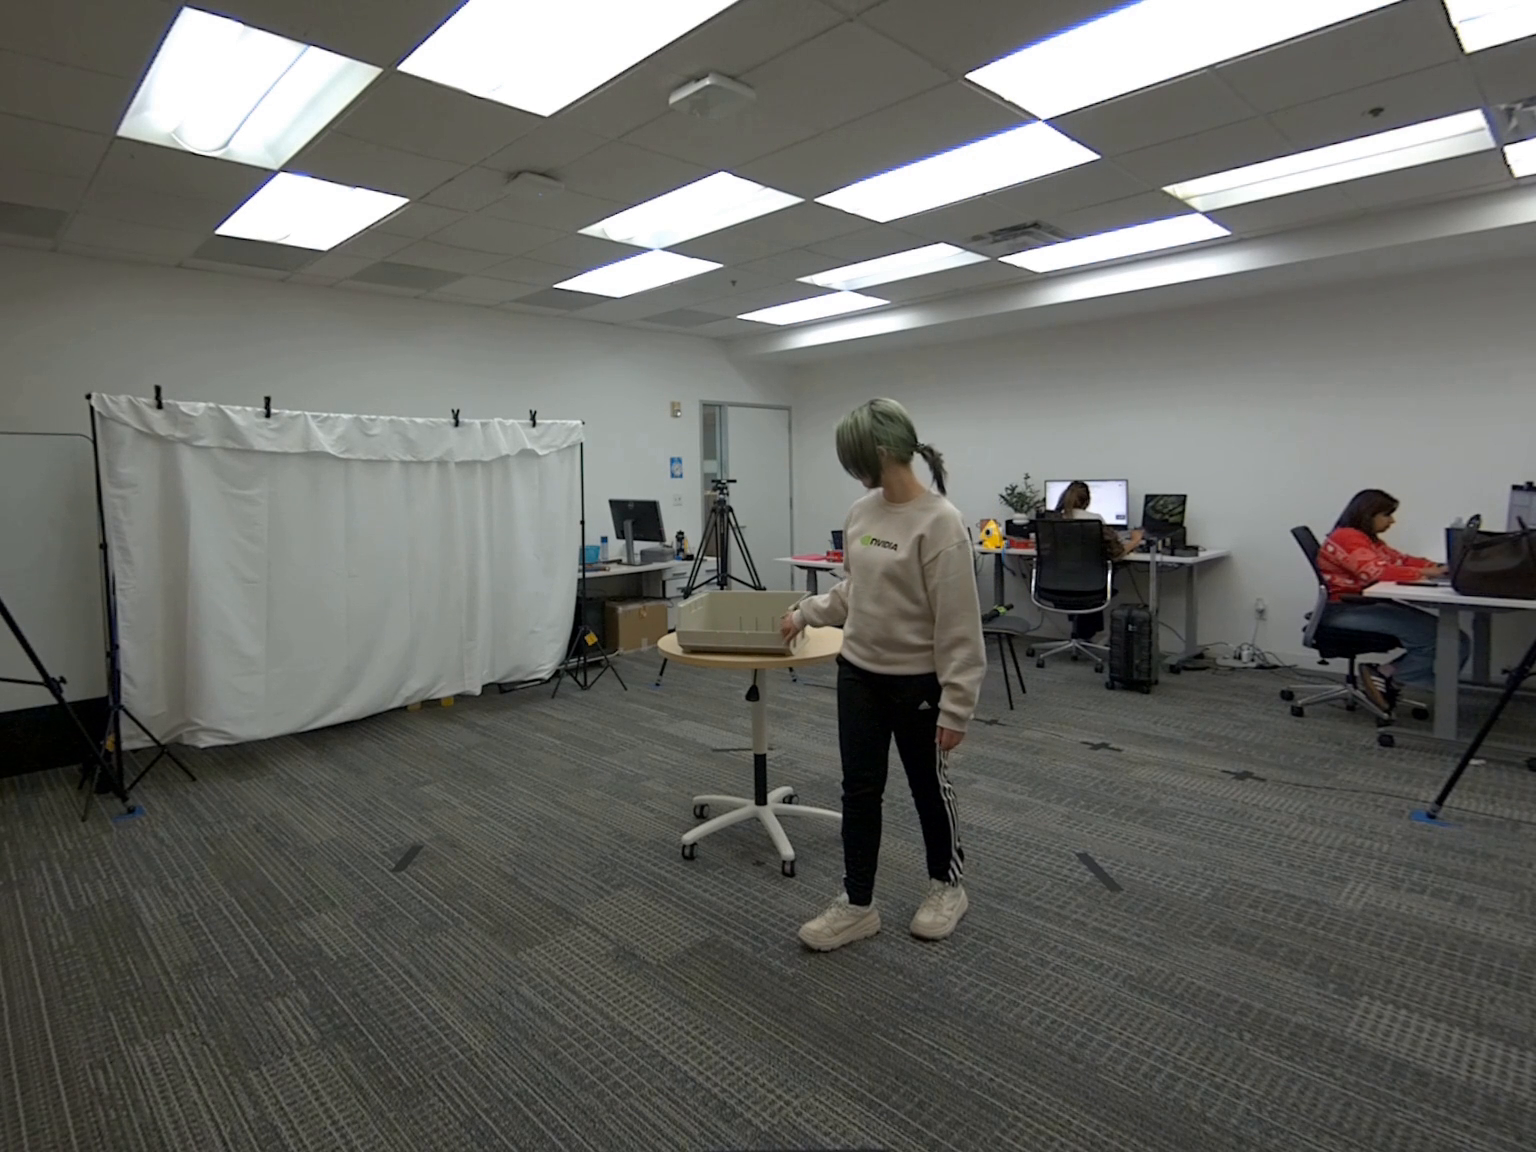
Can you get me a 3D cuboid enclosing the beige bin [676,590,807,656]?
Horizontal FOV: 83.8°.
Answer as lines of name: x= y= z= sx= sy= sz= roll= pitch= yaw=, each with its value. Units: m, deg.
beige bin: x=-0.080 y=0.168 z=3.137 sx=0.428 sy=0.188 sz=0.373 roll=0 pitch=4 yaw=14
